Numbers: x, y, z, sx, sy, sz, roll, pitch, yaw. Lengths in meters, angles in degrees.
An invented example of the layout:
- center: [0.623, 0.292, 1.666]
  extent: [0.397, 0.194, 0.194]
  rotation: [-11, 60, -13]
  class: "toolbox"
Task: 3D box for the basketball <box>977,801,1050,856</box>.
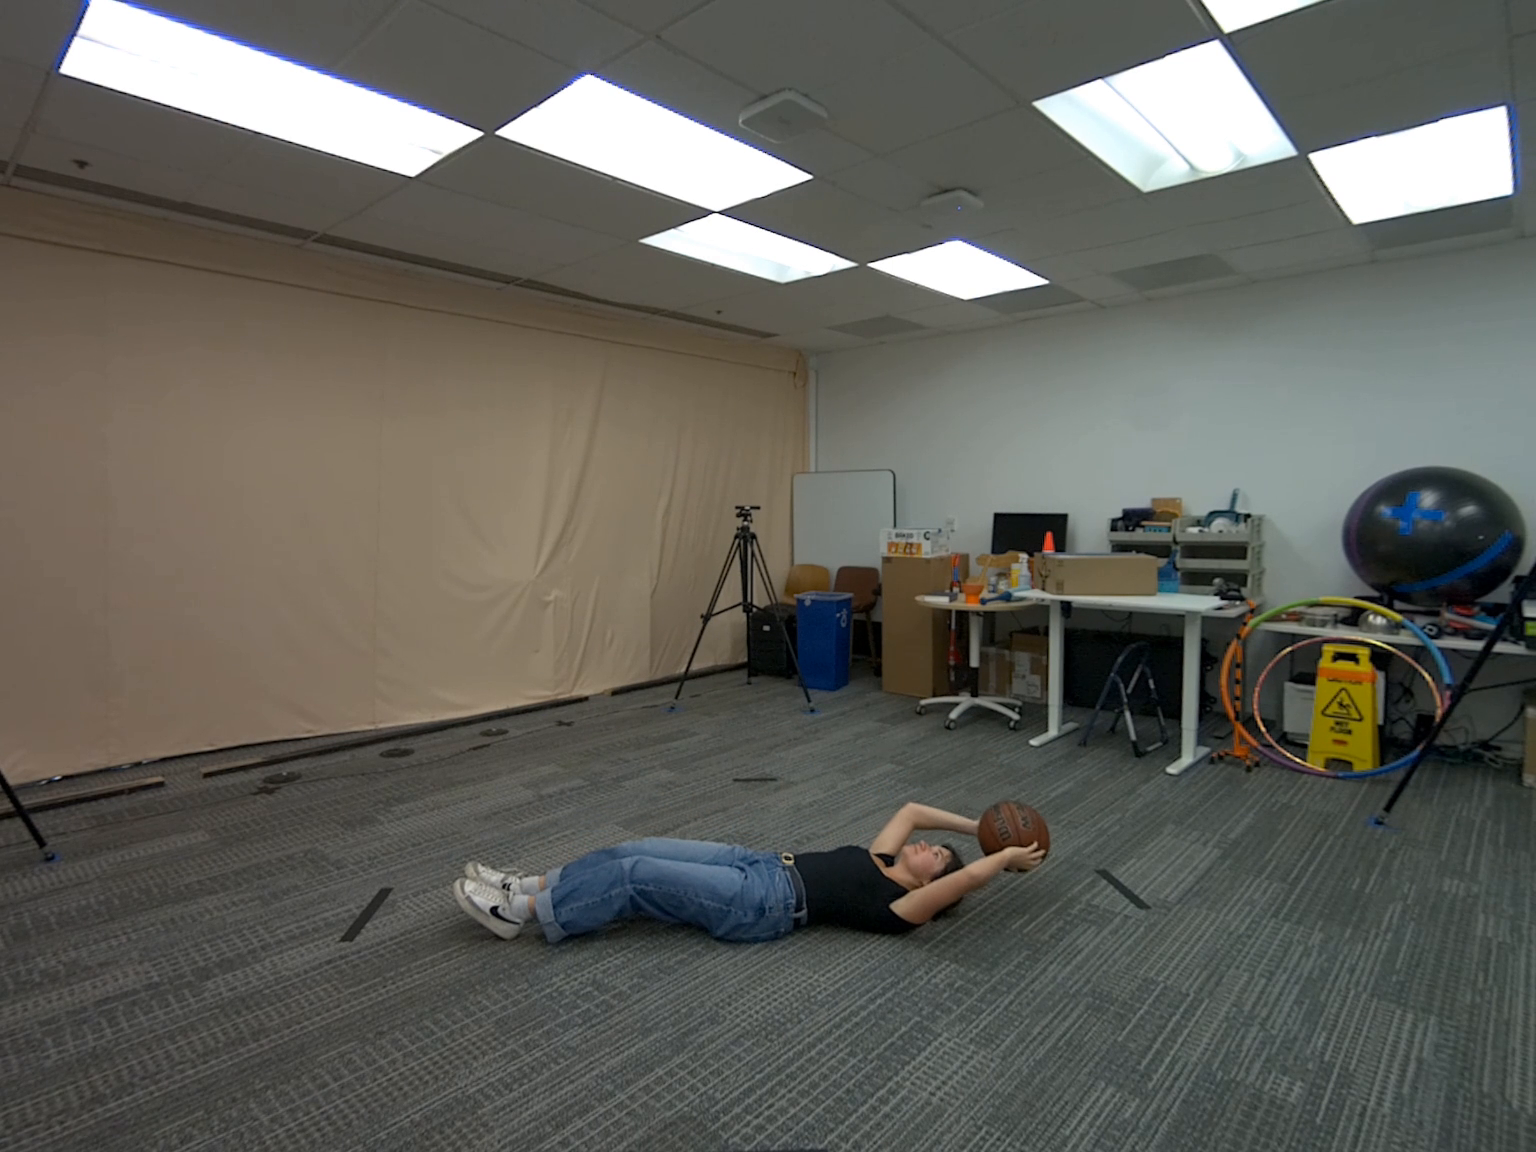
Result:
- center: [0.867, 0.898, 2.935]
  extent: [0.236, 0.235, 0.237]
  rotation: [0, 4, -2]
  class: "basketball"
